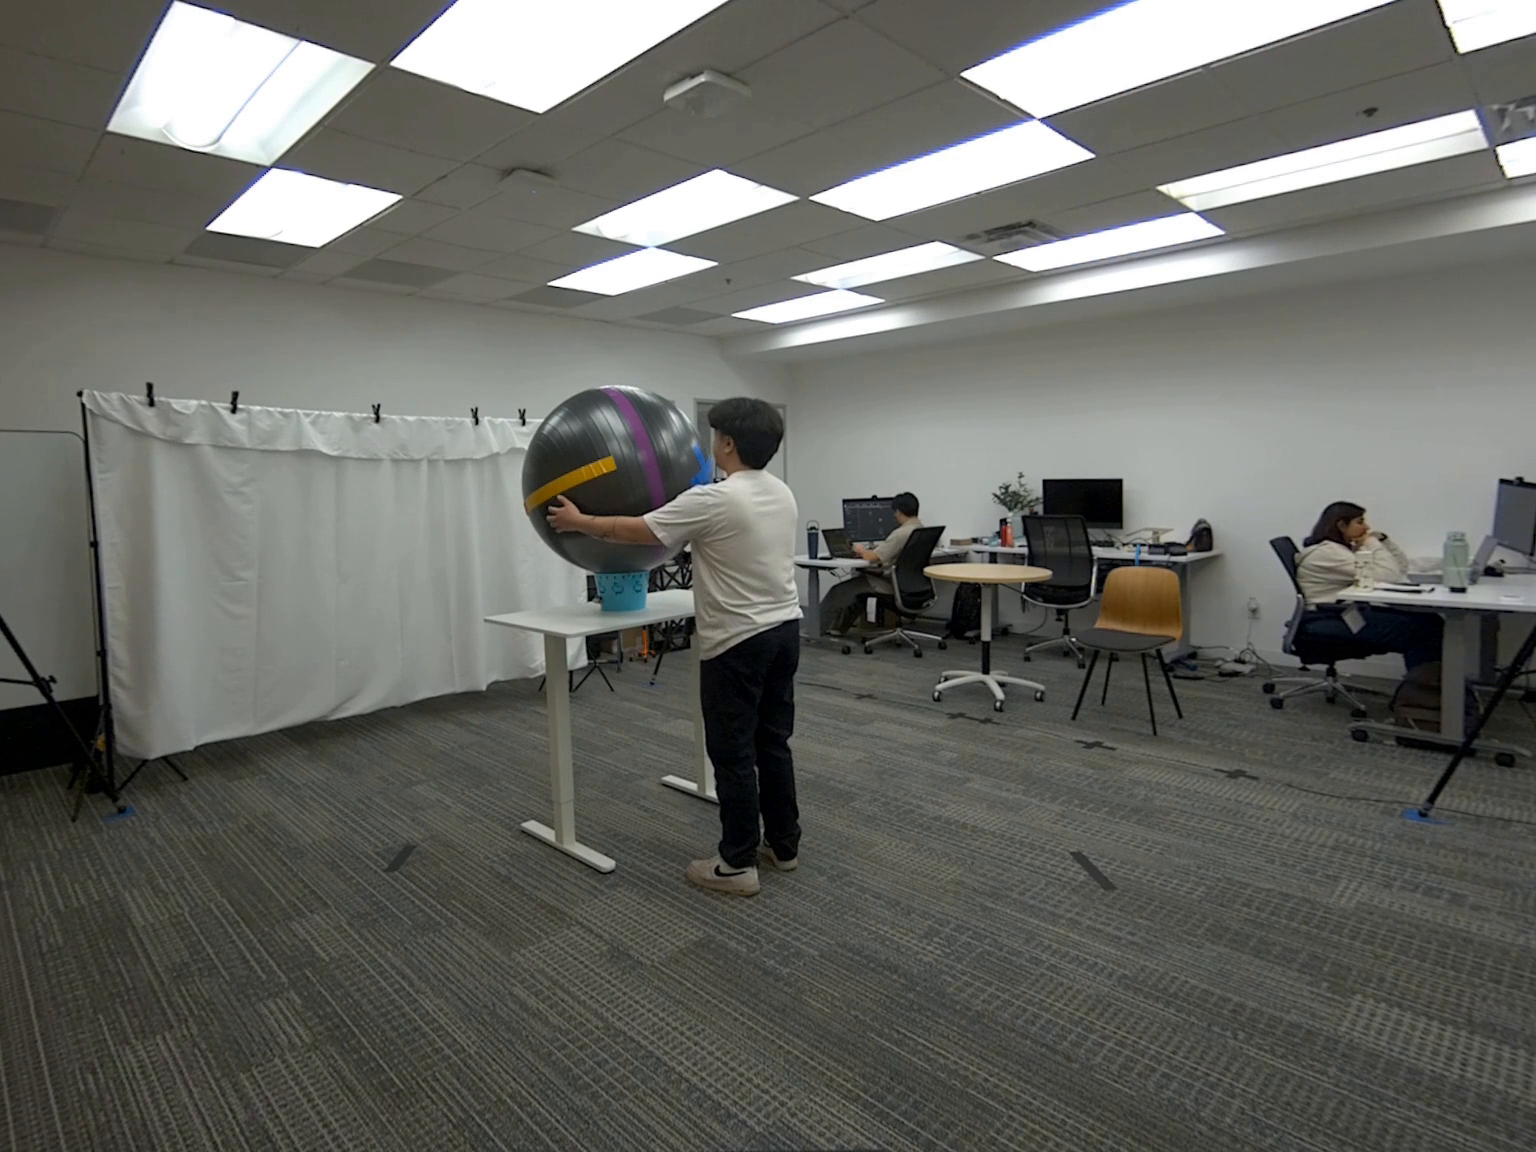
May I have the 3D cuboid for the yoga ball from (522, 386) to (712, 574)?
[{"bbox_3d":[-0.600,-0.370,3.428,0.757,0.755,0.762,-1,5,-2],"label":"yoga ball"}]
